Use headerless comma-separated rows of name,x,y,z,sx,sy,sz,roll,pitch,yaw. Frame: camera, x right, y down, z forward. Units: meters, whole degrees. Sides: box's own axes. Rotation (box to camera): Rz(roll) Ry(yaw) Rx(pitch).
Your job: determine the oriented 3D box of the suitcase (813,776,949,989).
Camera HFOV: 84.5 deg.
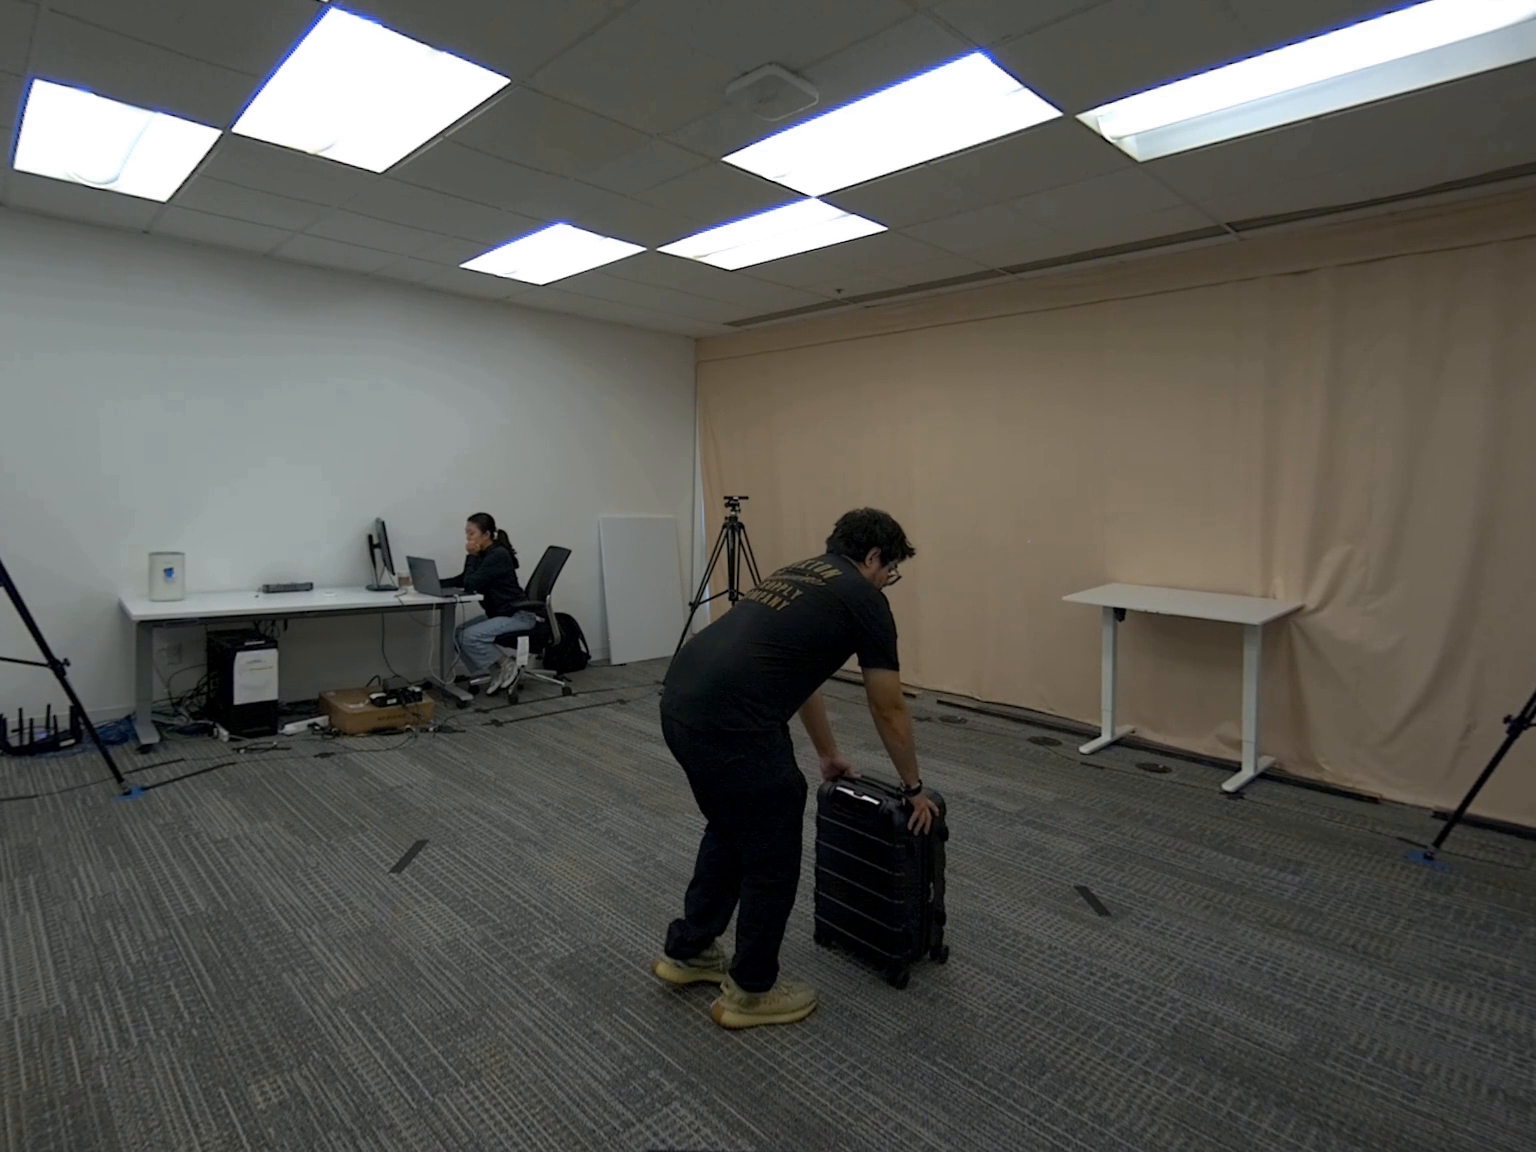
suitcase,0.334,0.891,2.570,0.243,0.547,0.385,-5,8,-42
